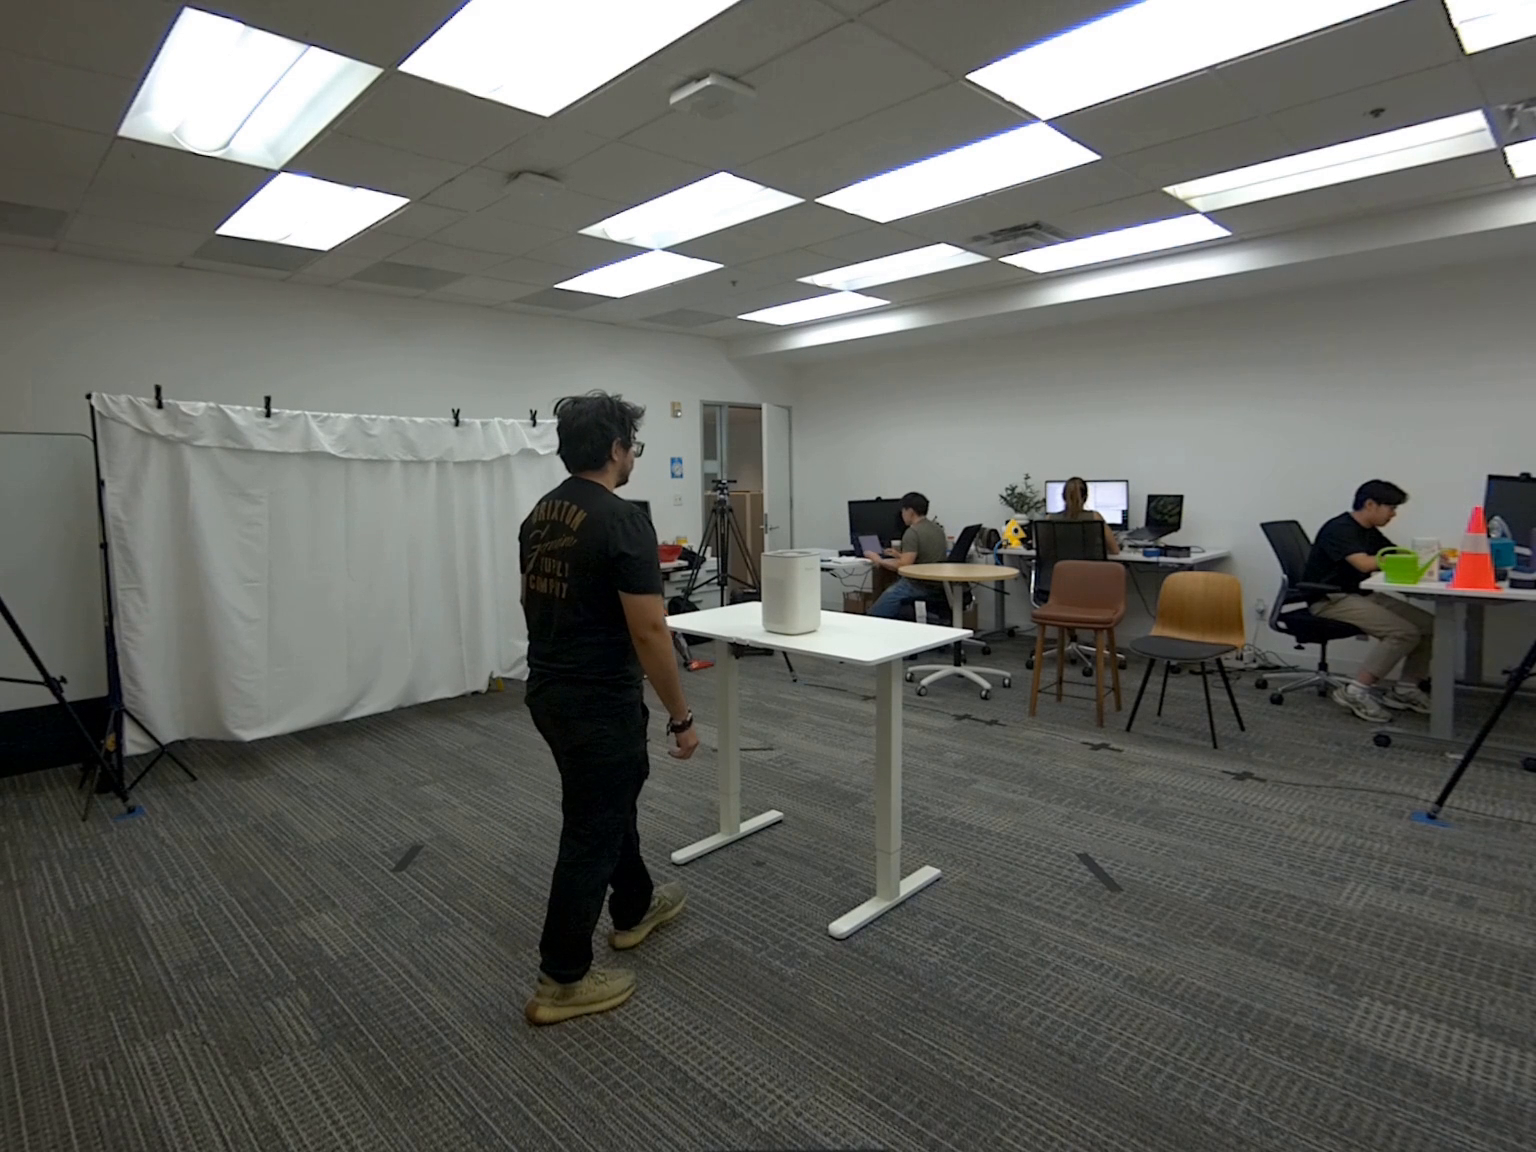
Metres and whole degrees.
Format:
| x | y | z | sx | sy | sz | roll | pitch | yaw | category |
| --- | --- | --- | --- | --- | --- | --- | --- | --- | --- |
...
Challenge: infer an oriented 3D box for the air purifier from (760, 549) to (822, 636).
| x | y | z | sx | sy | sz | roll | pitch | yaw | category |
| --- | --- | --- | --- | --- | --- | --- | --- | --- | --- |
| 0.084 | 0.055 | 2.892 | 0.177 | 0.264 | 0.166 | 5 | 7 | 43 | air purifier |
